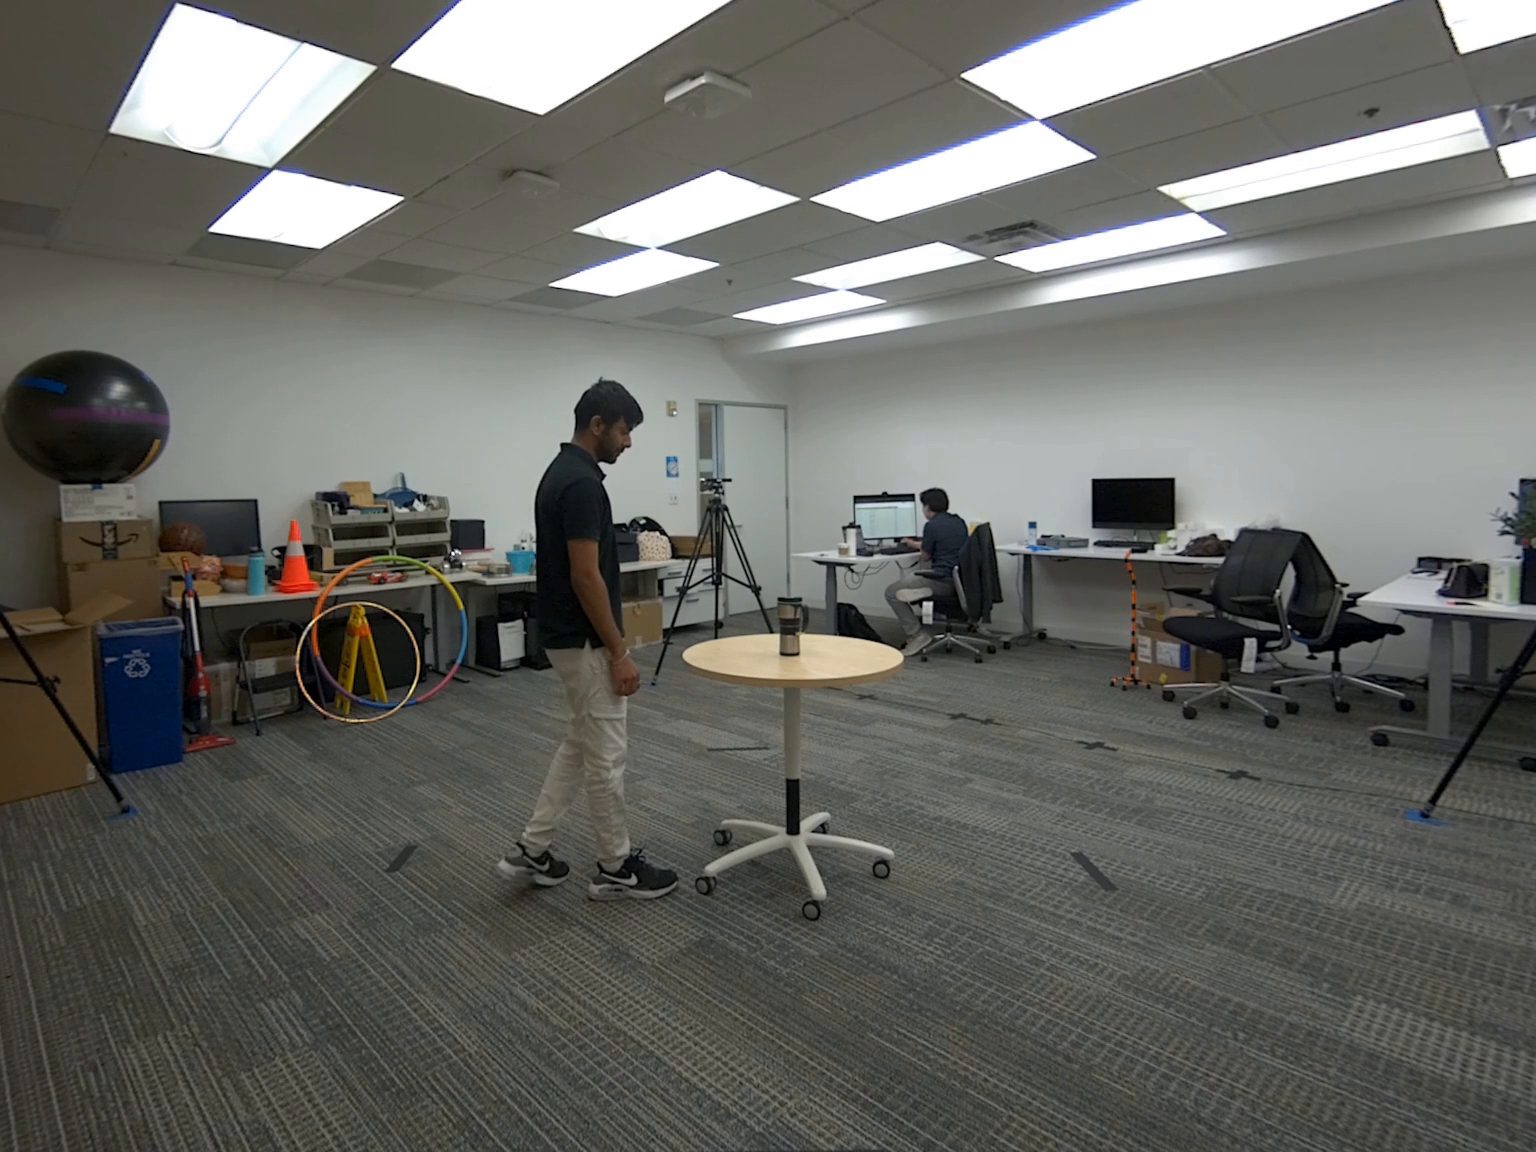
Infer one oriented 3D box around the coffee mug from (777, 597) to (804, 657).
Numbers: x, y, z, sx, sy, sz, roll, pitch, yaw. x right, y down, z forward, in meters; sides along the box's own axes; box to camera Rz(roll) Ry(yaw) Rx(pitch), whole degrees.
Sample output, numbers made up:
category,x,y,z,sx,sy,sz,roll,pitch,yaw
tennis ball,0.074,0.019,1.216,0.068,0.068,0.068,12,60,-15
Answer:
category,x,y,z,sx,sy,sz,roll,pitch,yaw
coffee mug,0.064,0.178,2.950,0.091,0.202,0.119,9,8,37
